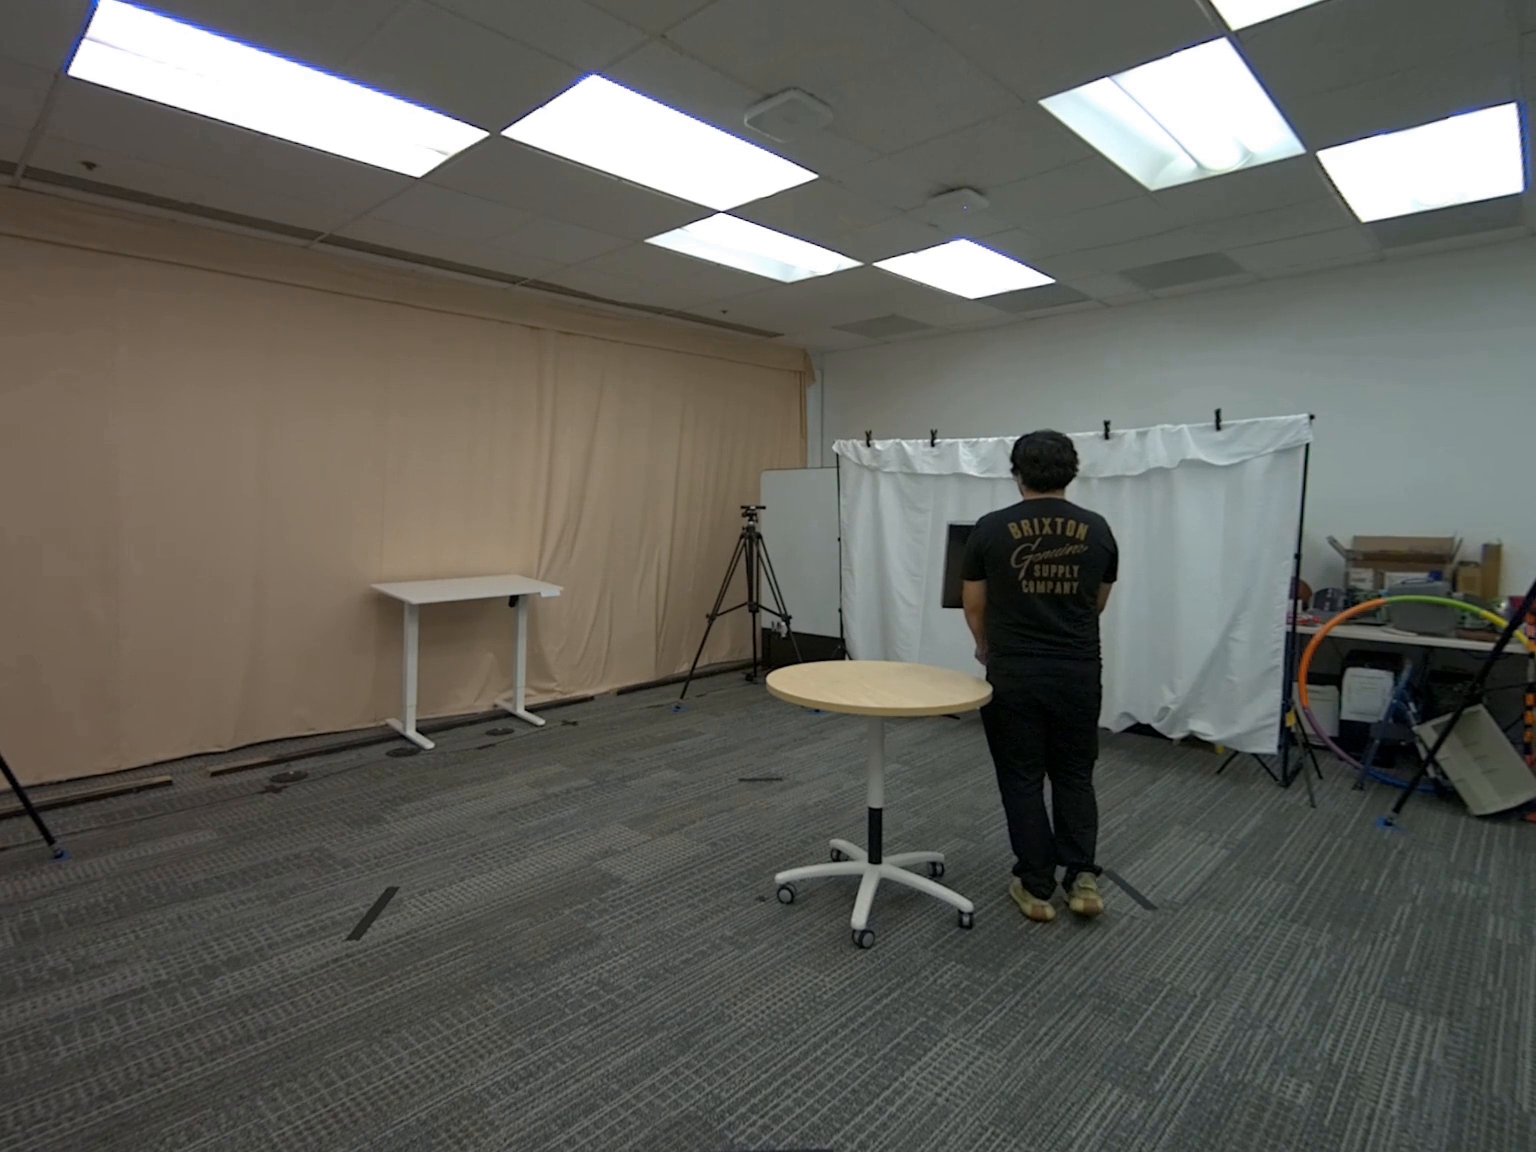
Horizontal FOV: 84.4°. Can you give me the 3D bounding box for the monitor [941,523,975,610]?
[{"bbox_3d":[0.930,0.074,3.065,0.570,0.546,0.211,2,22,8],"label":"monitor"}]
